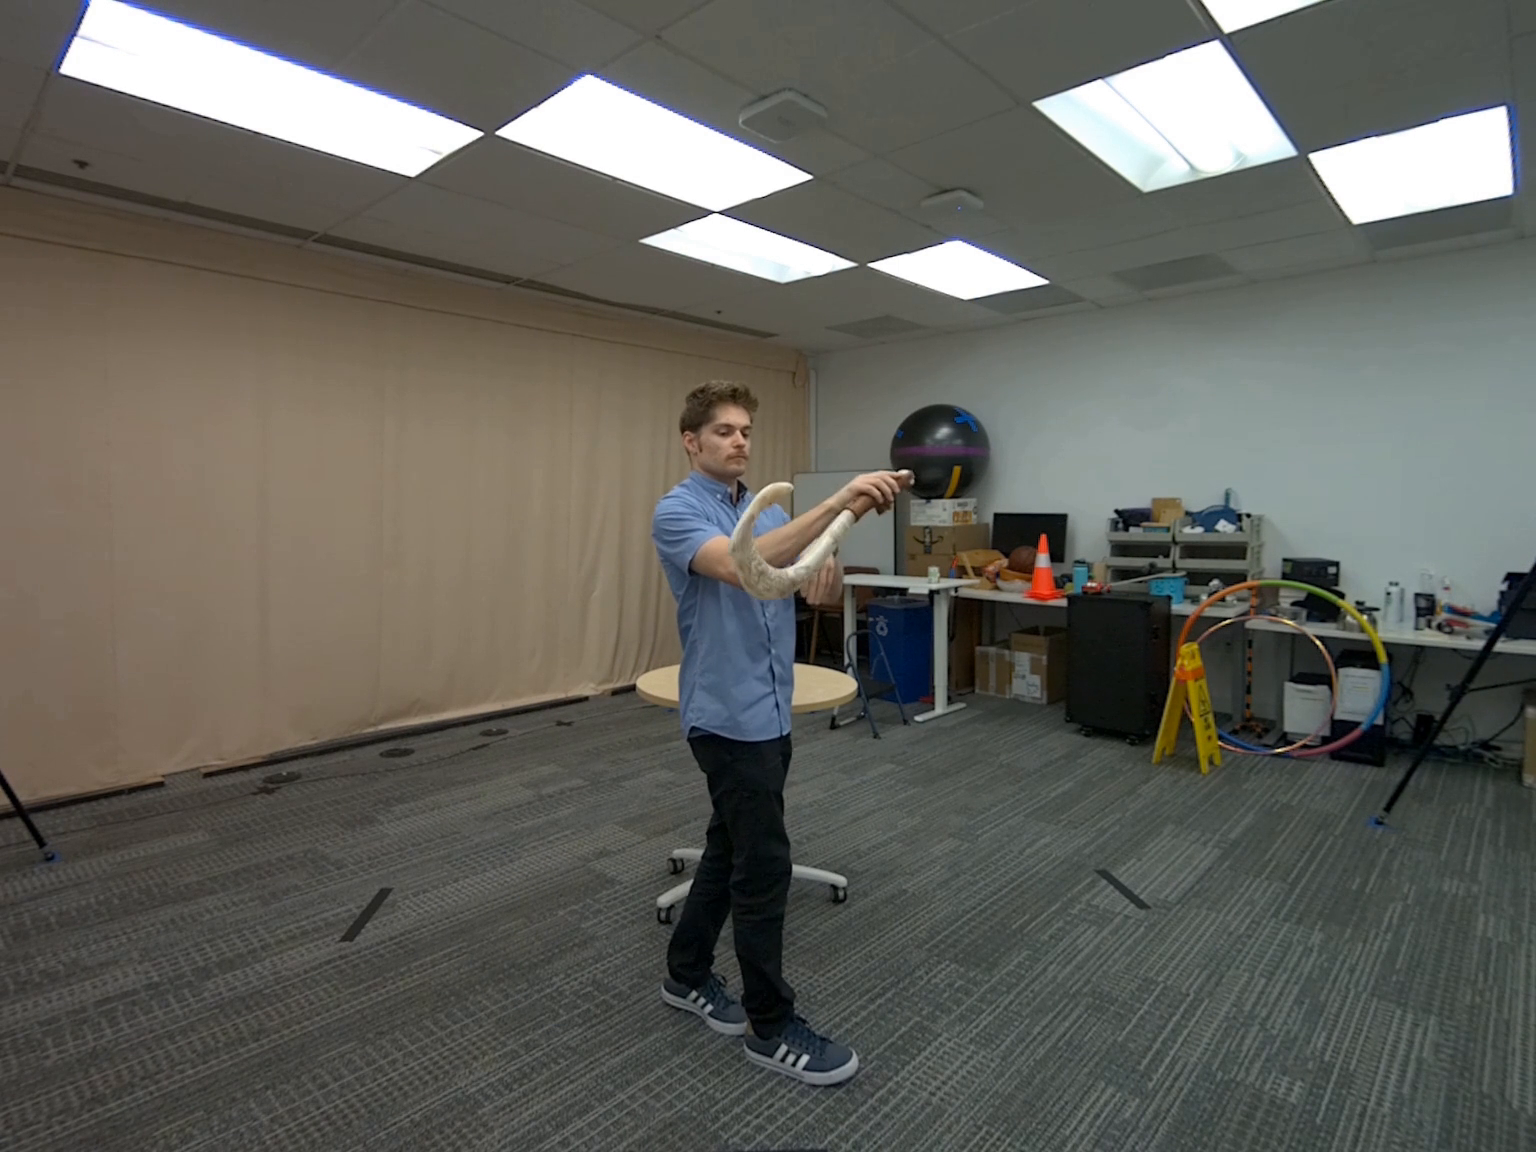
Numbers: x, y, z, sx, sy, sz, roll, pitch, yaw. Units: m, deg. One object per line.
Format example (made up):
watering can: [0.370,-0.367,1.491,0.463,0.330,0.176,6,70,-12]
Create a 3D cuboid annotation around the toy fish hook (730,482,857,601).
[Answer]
toy fish hook: [0.124,-0.136,1.767,0.500,0.220,0.050,-35,27,-24]
